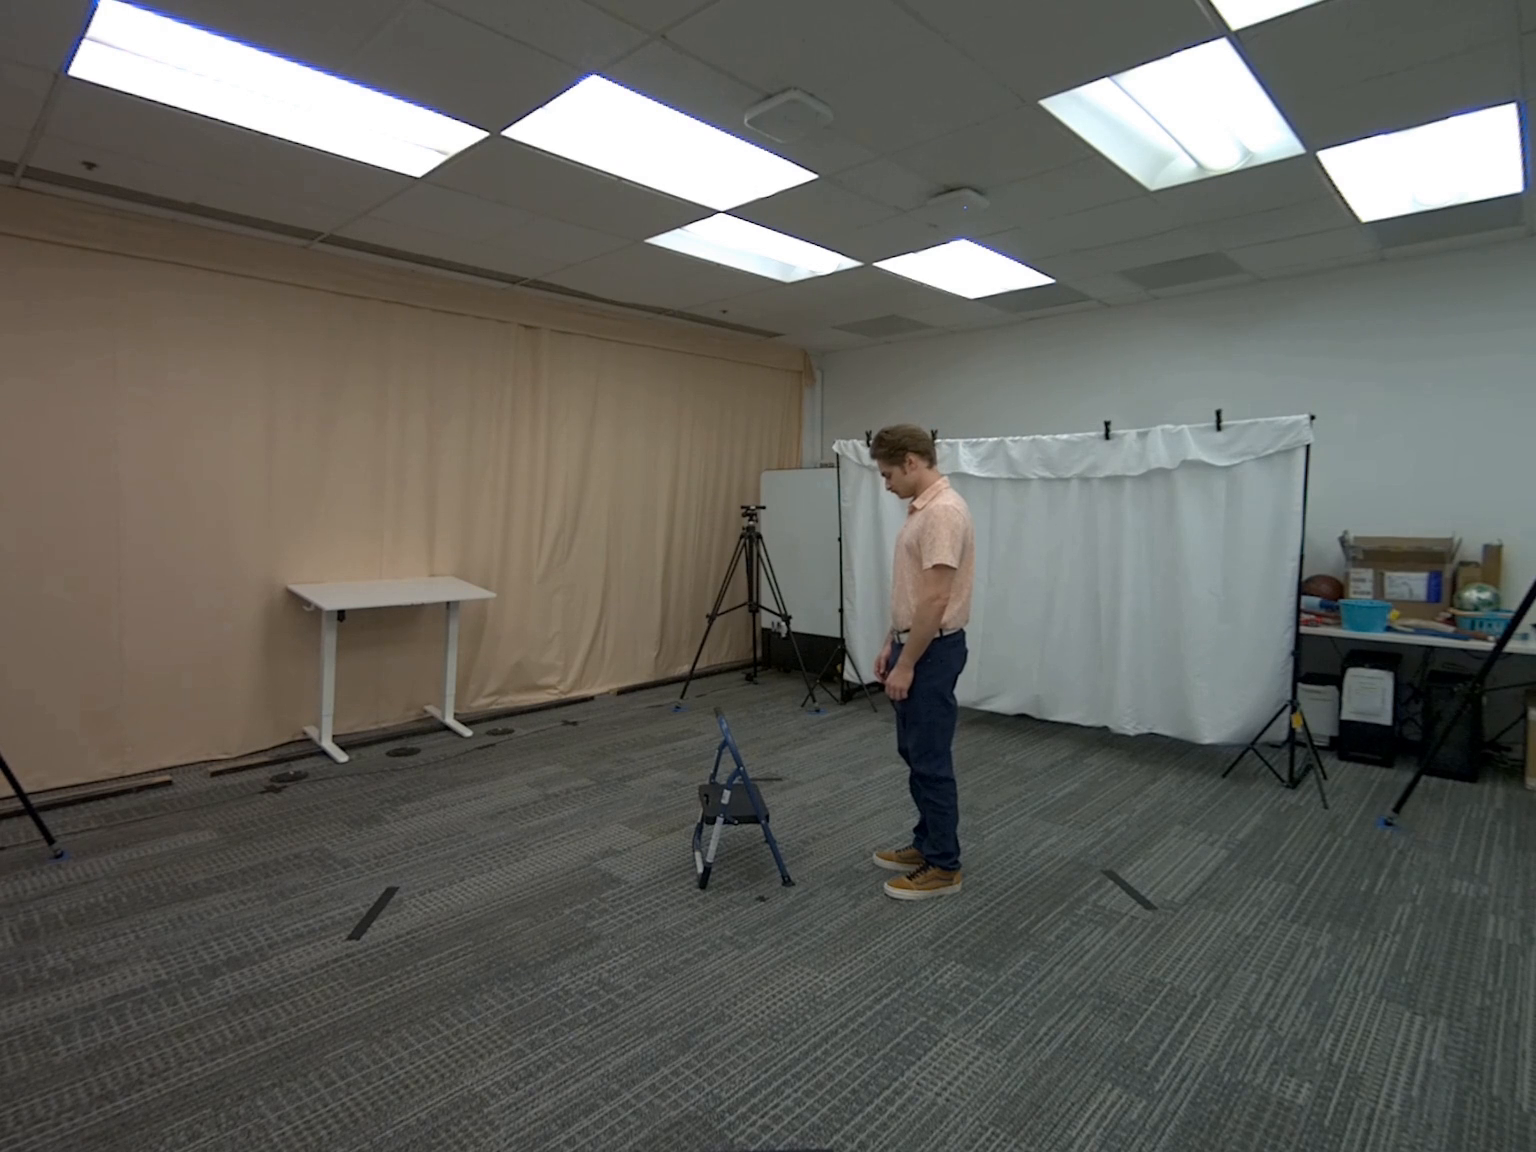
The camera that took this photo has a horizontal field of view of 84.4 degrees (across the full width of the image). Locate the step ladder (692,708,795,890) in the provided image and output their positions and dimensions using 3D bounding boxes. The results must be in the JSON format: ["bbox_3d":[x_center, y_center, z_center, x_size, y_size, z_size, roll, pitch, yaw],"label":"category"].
[{"bbox_3d":[-0.117,0.819,3.263,0.347,0.605,0.435,-2,3,-8],"label":"step ladder"}]
